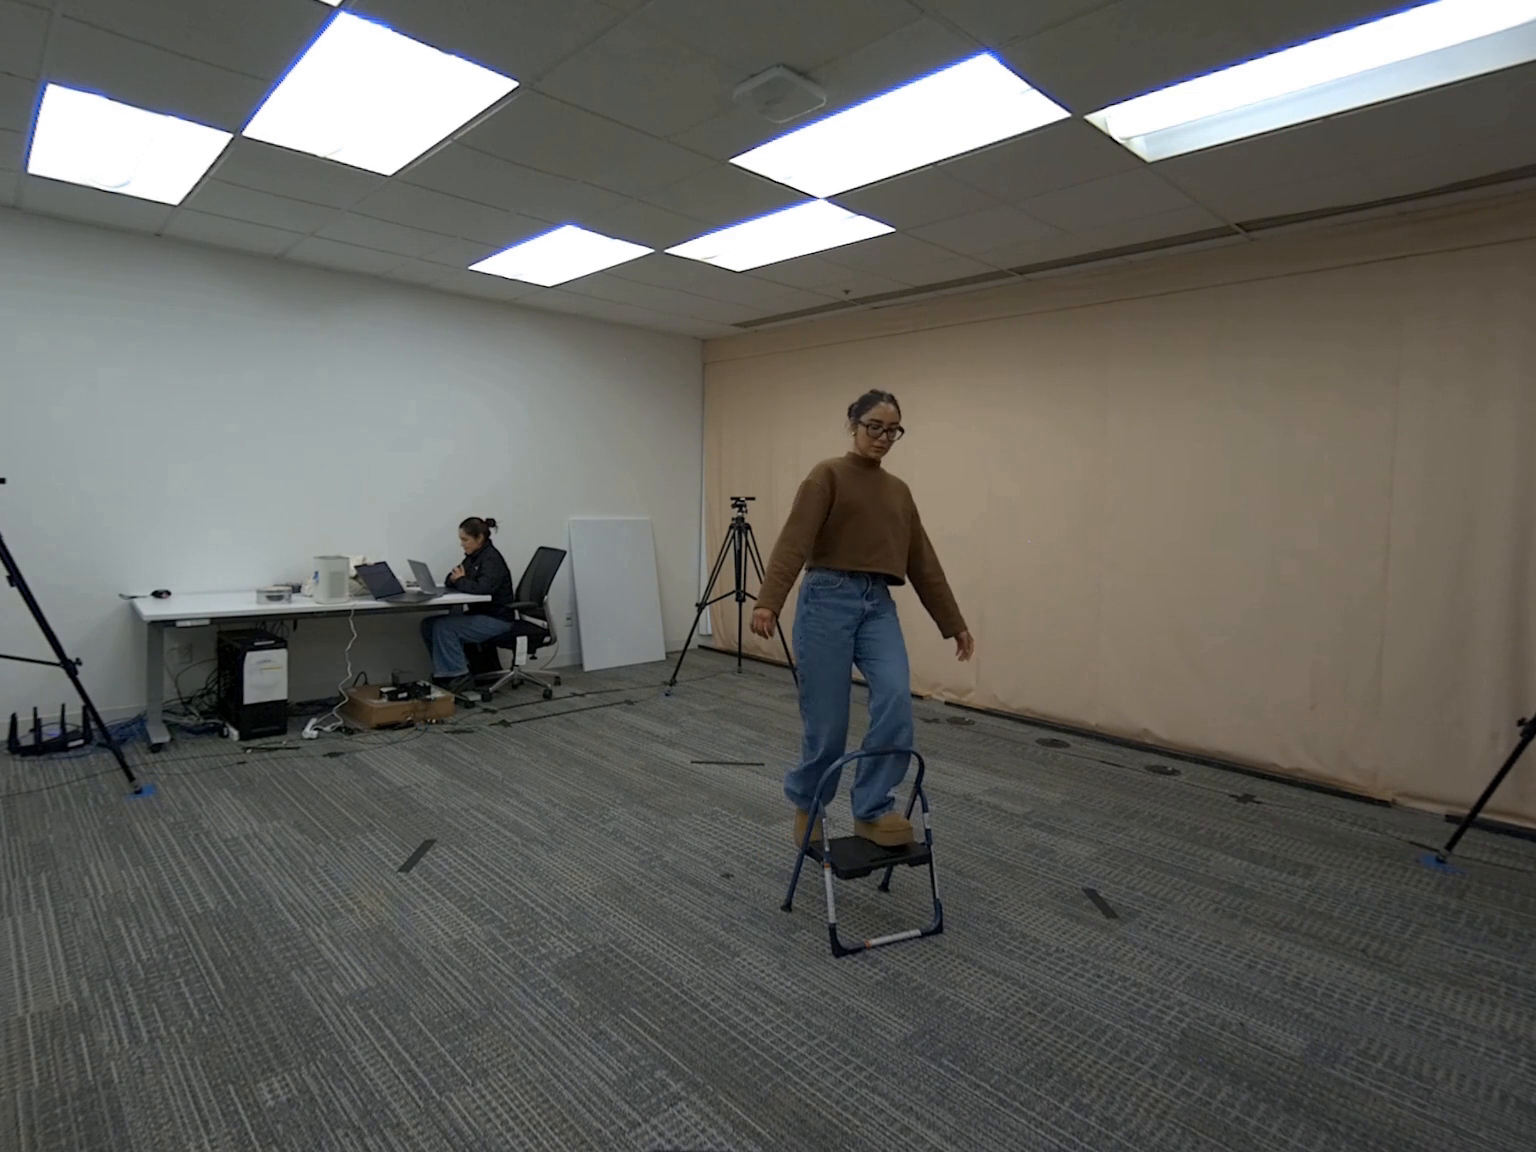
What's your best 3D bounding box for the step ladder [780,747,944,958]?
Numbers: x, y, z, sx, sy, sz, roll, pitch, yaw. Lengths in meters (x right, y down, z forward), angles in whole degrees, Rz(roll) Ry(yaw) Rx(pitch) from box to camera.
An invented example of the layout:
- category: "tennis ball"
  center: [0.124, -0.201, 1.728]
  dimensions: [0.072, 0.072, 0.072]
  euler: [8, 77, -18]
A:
- category: "step ladder"
  center: [0.311, 0.846, 2.779]
  dimensions: [0.422, 0.604, 0.357]
  euler: [0, 4, -27]
